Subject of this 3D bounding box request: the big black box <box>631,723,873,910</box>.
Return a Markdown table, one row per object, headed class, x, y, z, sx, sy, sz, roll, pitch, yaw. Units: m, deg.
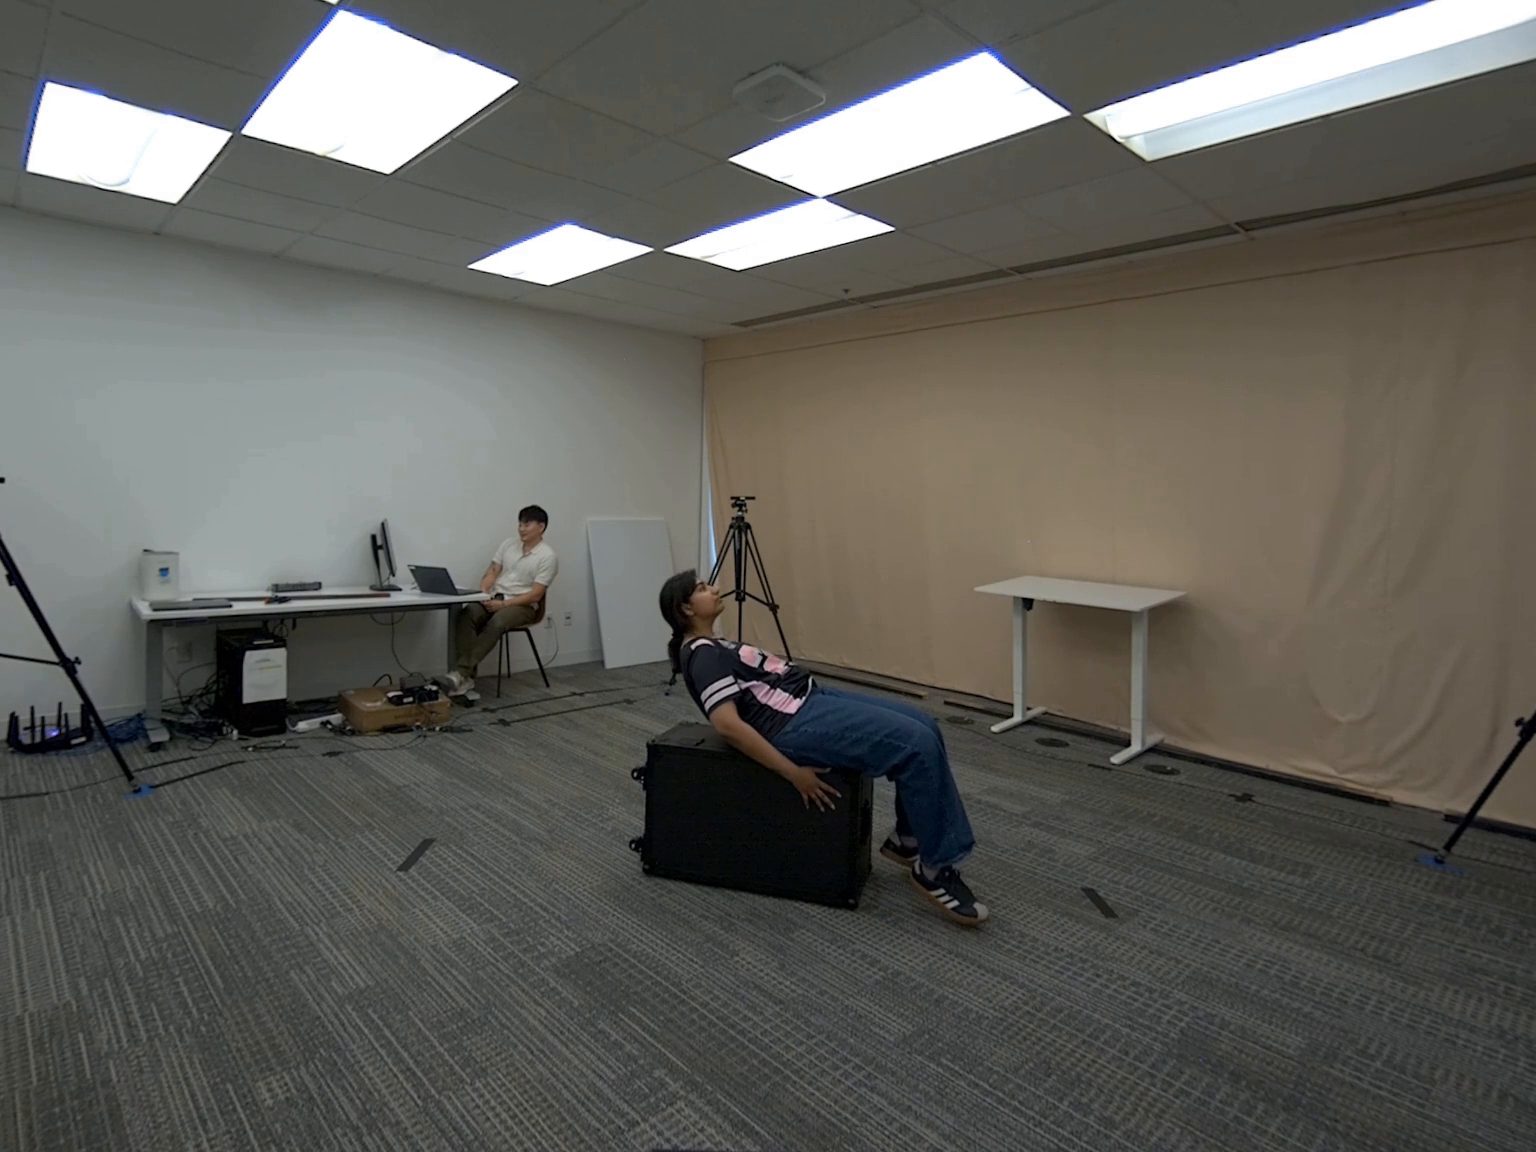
| class | x | y | z | sx | sy | sz | roll | pitch | yaw |
| --- | --- | --- | --- | --- | --- | --- | --- | --- | --- |
| big black box | -0.067 | 0.844 | 3.135 | 0.881 | 0.522 | 0.381 | 3 | 4 | 17 |
